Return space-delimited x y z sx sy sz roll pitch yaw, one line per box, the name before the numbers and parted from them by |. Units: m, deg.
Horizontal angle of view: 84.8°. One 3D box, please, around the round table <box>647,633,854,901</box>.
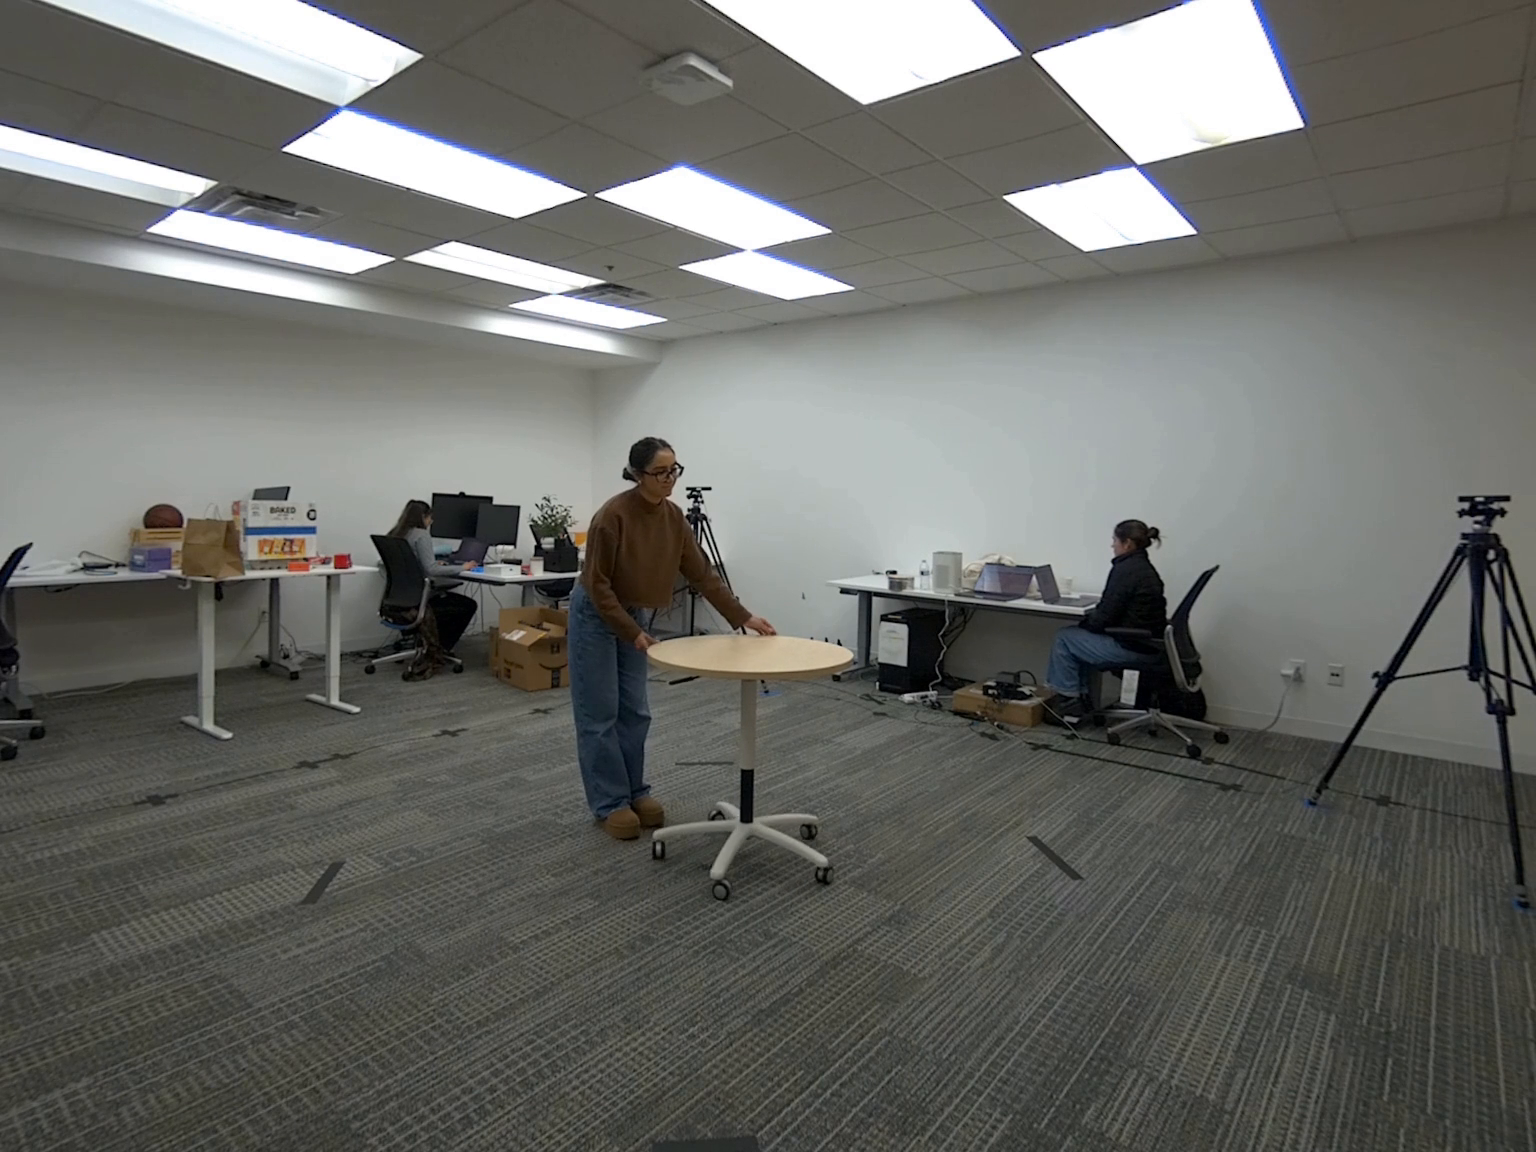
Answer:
round table | -0.080 0.672 3.183 0.763 0.792 0.767 1 4 -2
